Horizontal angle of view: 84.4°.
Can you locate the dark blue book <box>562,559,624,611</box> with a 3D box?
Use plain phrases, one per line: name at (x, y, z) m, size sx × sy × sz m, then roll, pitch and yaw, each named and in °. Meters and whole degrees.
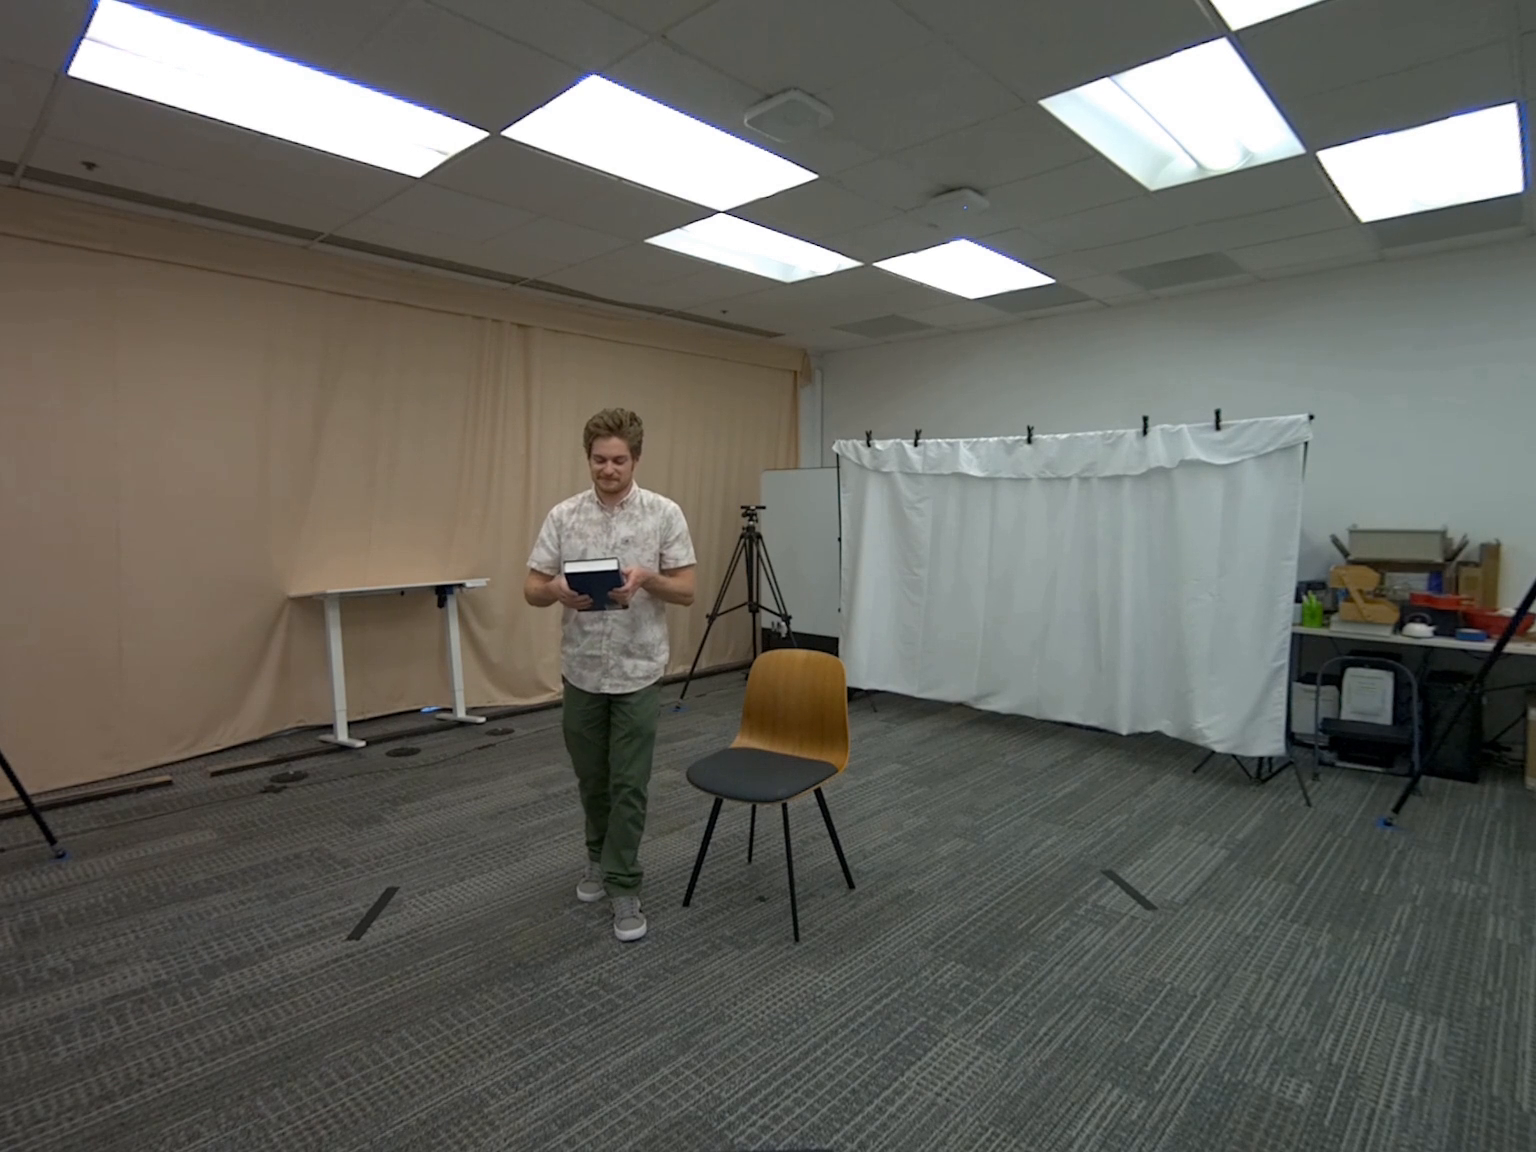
dark blue book at (-0.524, 0.030, 2.555) m, size 0.163 × 0.046 × 0.241 m, roll -1°, pitch -31°, yaw -2°
